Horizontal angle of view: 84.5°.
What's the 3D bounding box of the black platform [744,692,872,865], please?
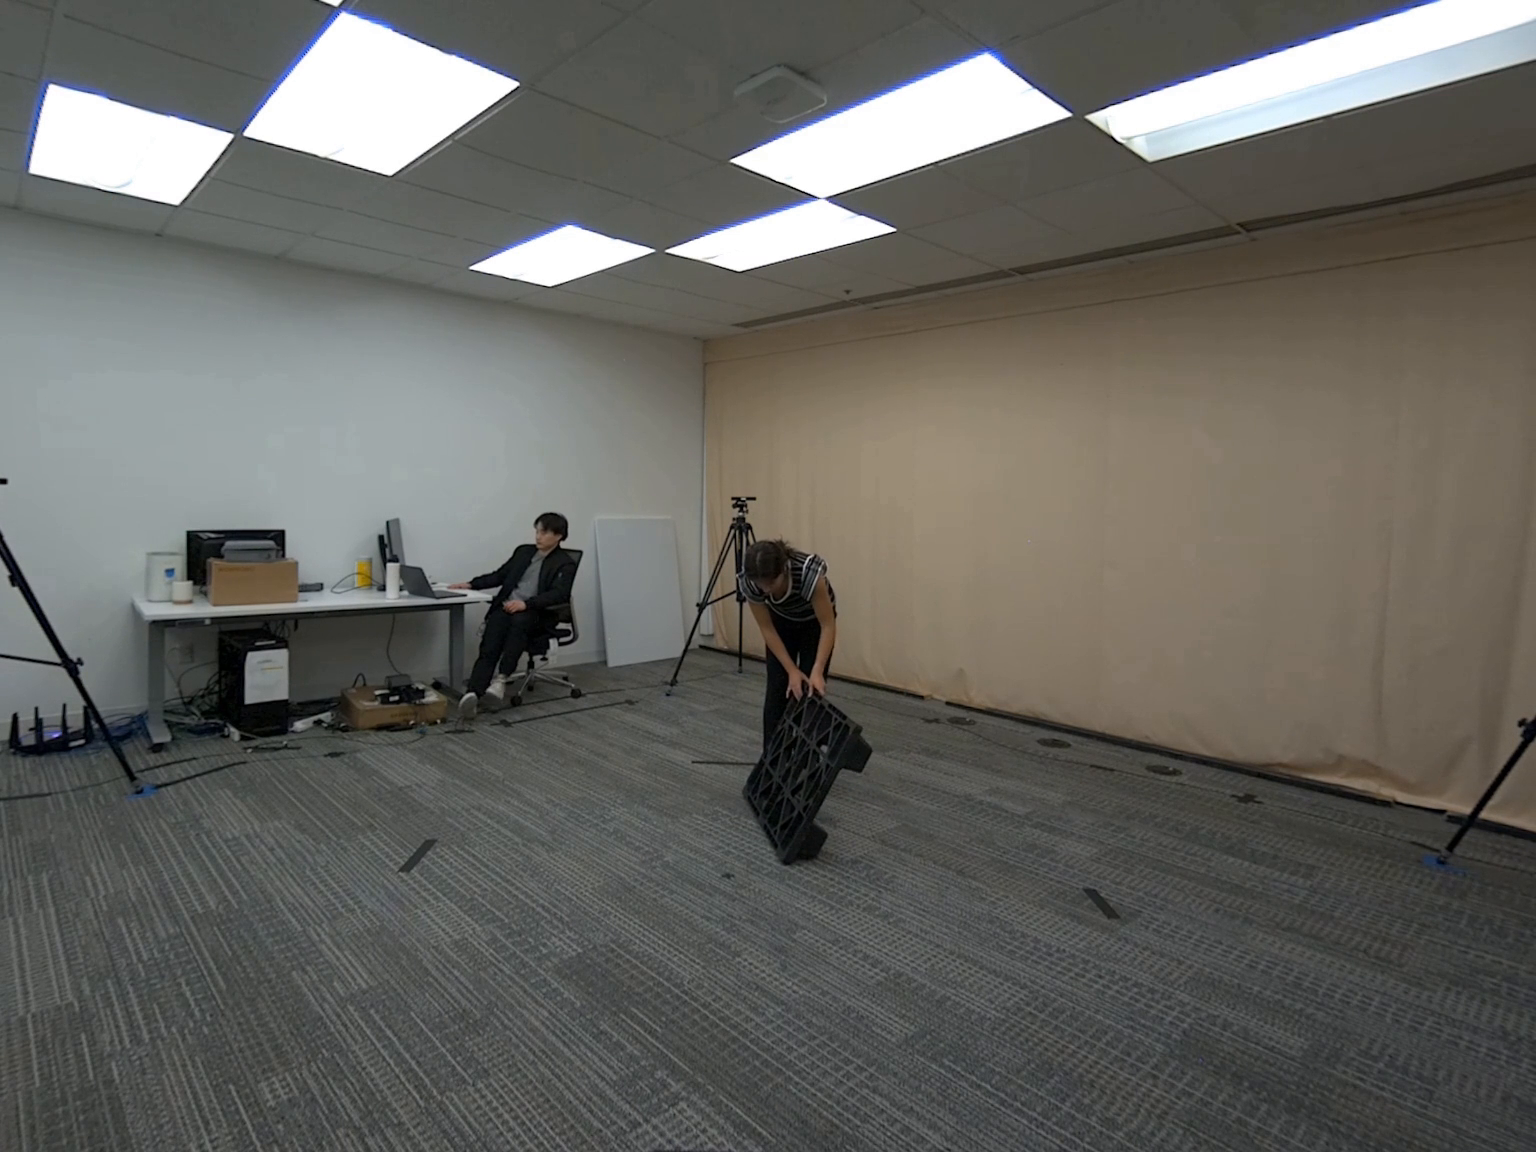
[{"bbox_3d":[0.147,0.818,3.601,0.141,0.605,0.815,29,-2,-13],"label":"black platform"}]
